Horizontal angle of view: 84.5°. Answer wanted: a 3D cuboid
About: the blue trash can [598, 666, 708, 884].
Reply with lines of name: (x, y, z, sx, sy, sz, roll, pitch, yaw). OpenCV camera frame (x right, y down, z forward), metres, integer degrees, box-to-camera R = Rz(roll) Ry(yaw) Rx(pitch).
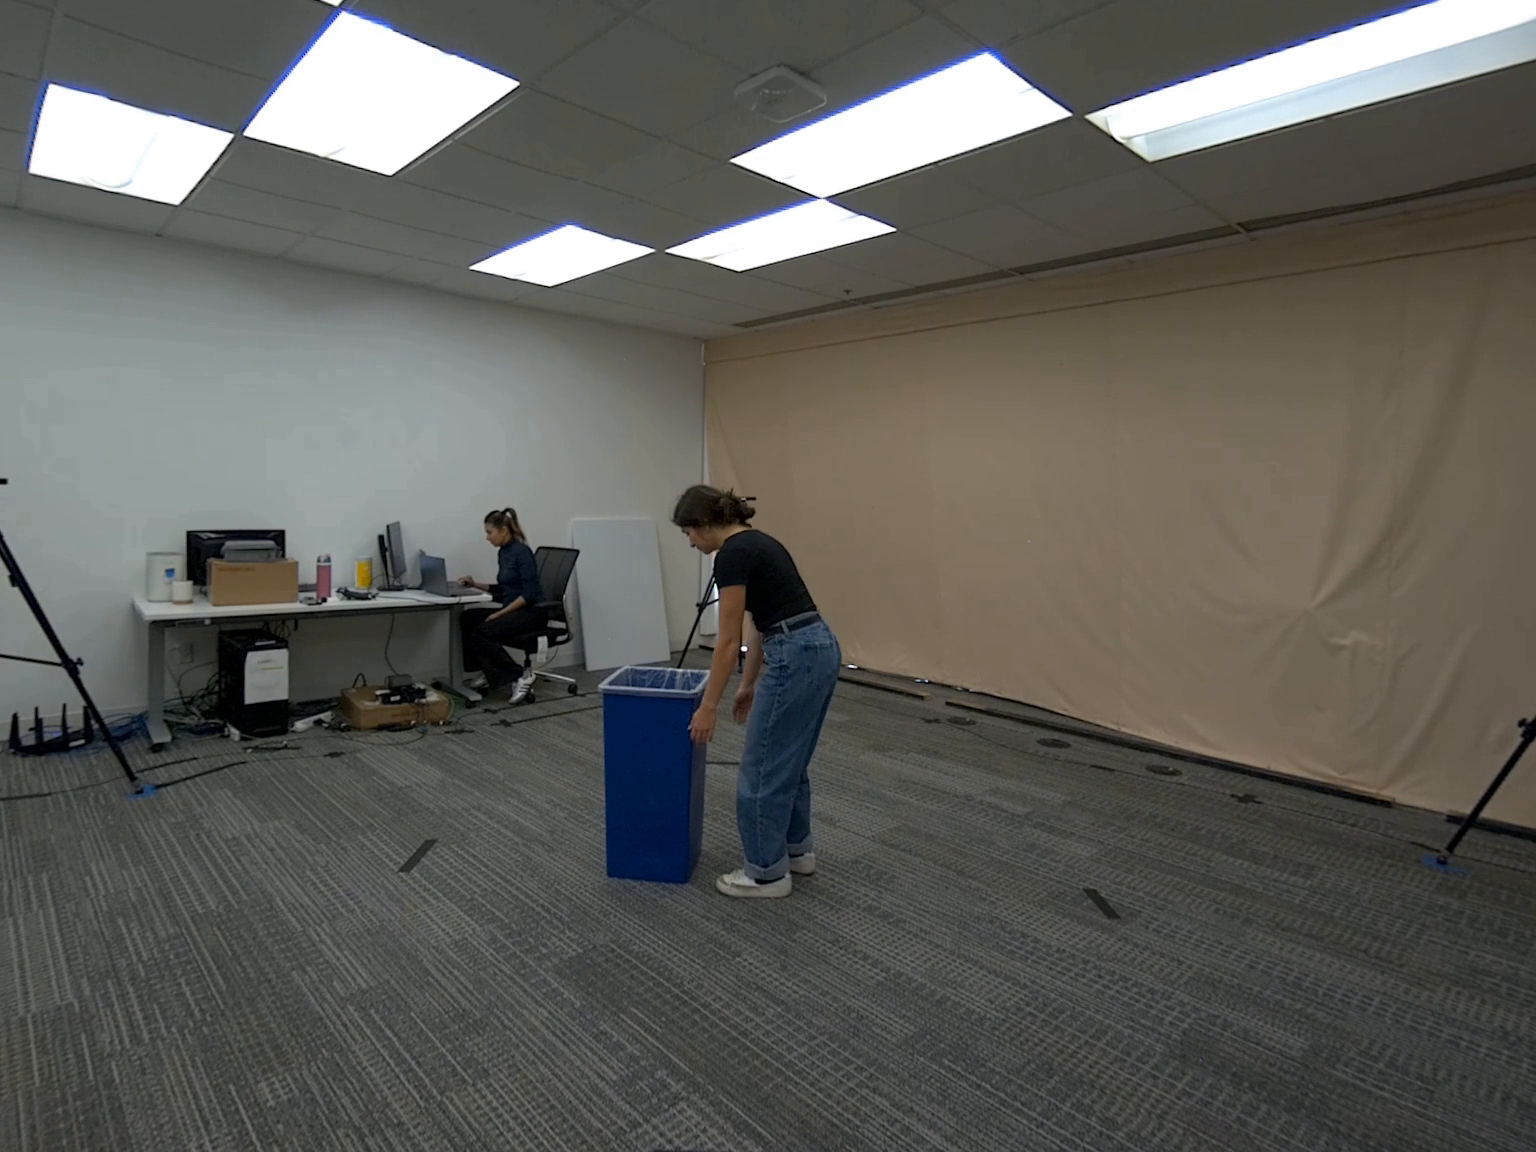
blue trash can: (-0.418, 0.735, 3.166, 0.381, 0.712, 0.372, 1, 3, 8)
